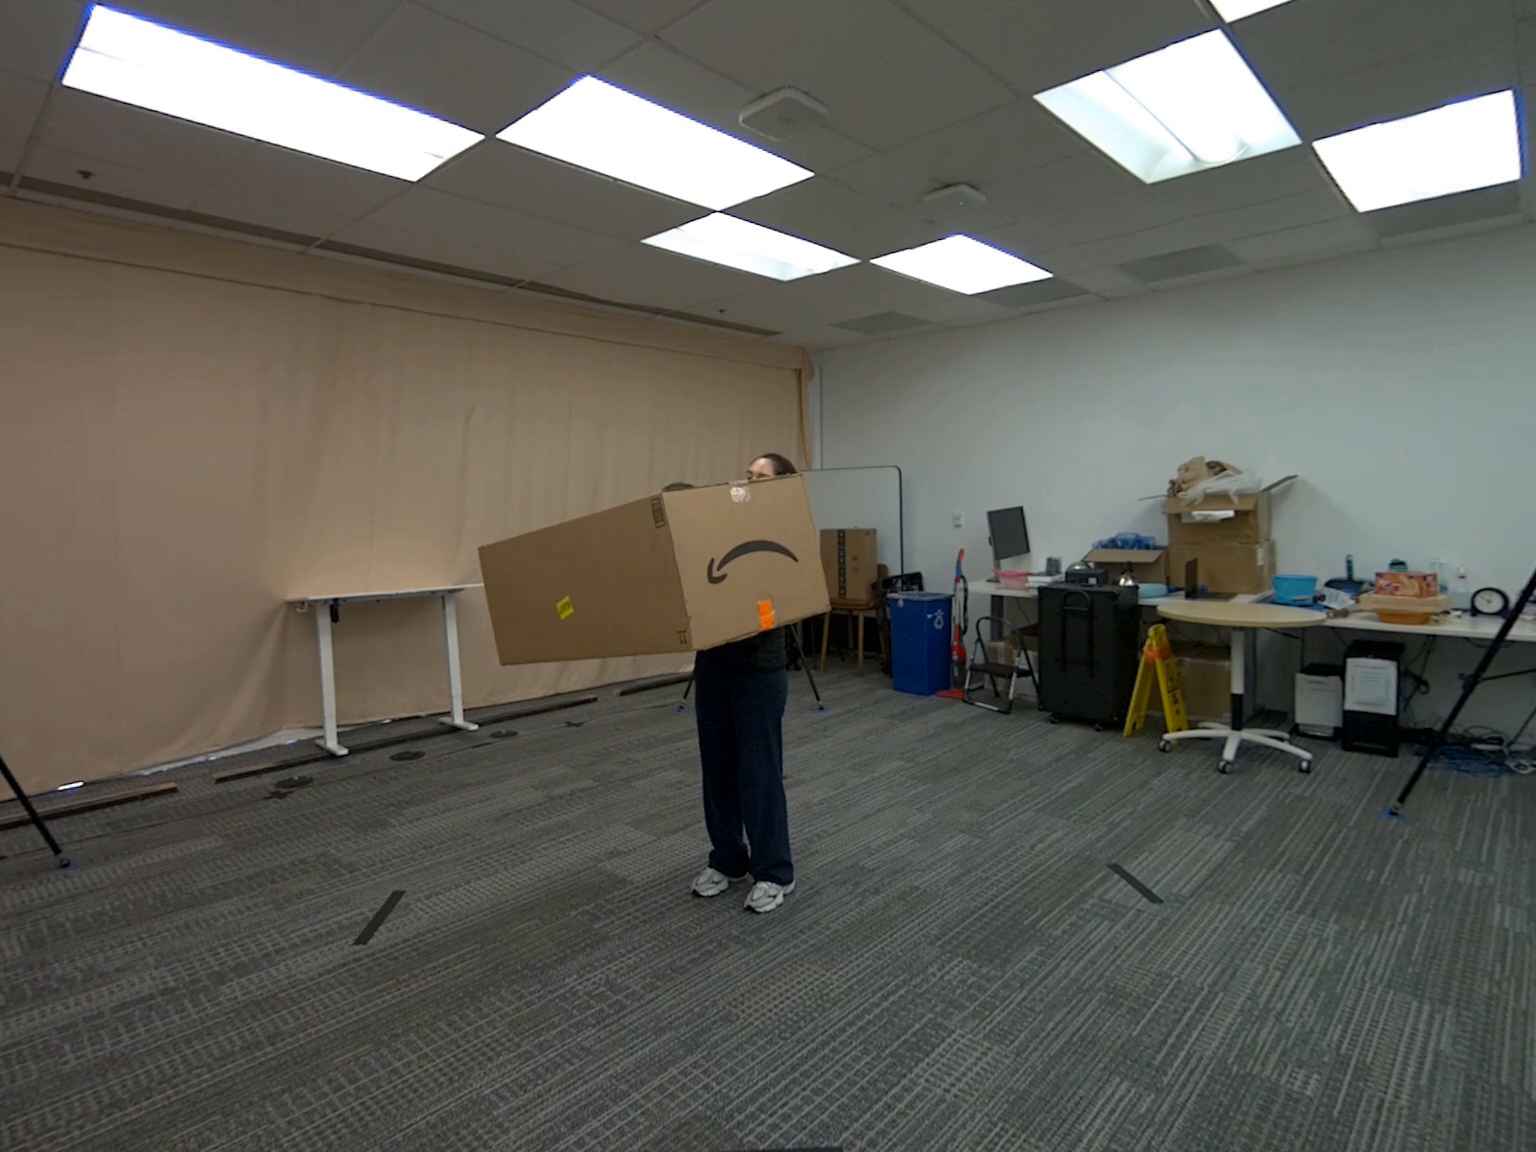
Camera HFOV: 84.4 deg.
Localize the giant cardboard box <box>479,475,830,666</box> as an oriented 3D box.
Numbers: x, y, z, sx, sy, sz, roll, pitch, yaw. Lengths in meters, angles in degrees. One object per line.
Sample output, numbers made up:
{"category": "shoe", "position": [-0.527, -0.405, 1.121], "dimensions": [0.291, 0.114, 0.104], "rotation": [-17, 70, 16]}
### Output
{"category": "giant cardboard box", "position": [-0.393, 0.005, 2.727], "dimensions": [1.055, 0.426, 0.561], "rotation": [-9, 1, 45]}
